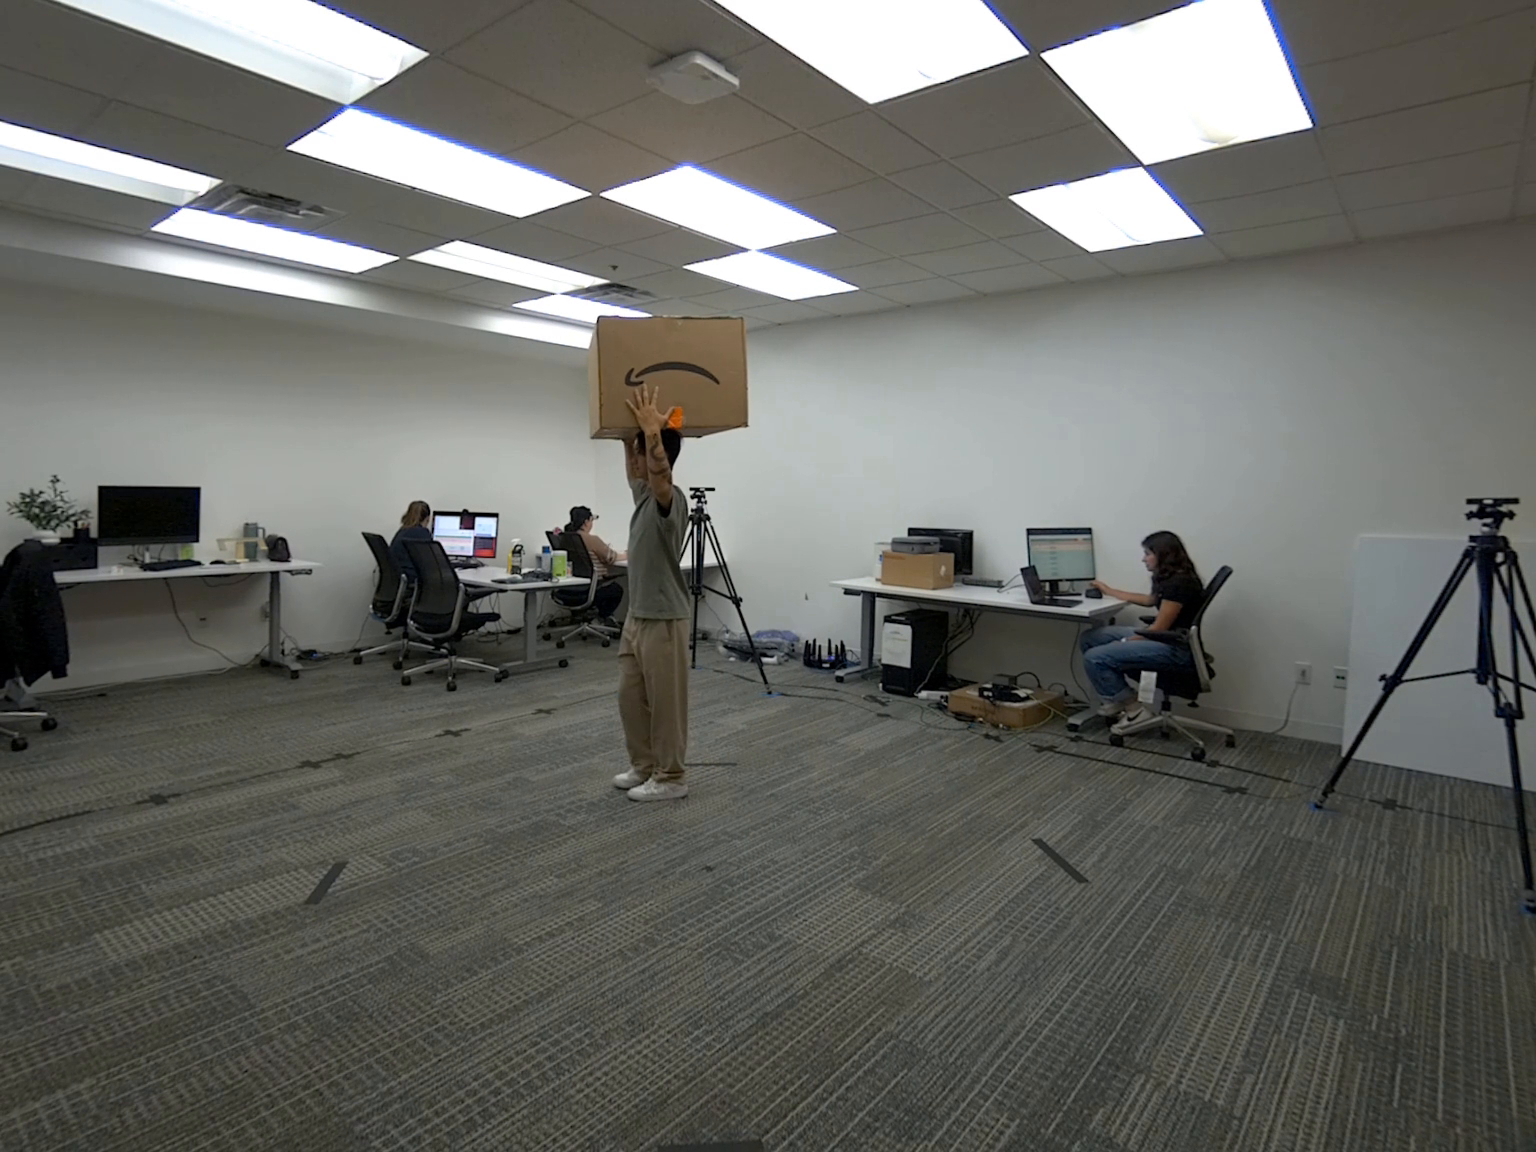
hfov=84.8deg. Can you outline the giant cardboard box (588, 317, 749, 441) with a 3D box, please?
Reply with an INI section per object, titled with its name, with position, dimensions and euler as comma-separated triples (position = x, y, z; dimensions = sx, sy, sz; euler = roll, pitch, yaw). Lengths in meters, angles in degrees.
[giant cardboard box]
position = -0.496, -0.844, 3.753
dimensions = 0.571, 0.423, 1.044
euler = -3, 8, -12
